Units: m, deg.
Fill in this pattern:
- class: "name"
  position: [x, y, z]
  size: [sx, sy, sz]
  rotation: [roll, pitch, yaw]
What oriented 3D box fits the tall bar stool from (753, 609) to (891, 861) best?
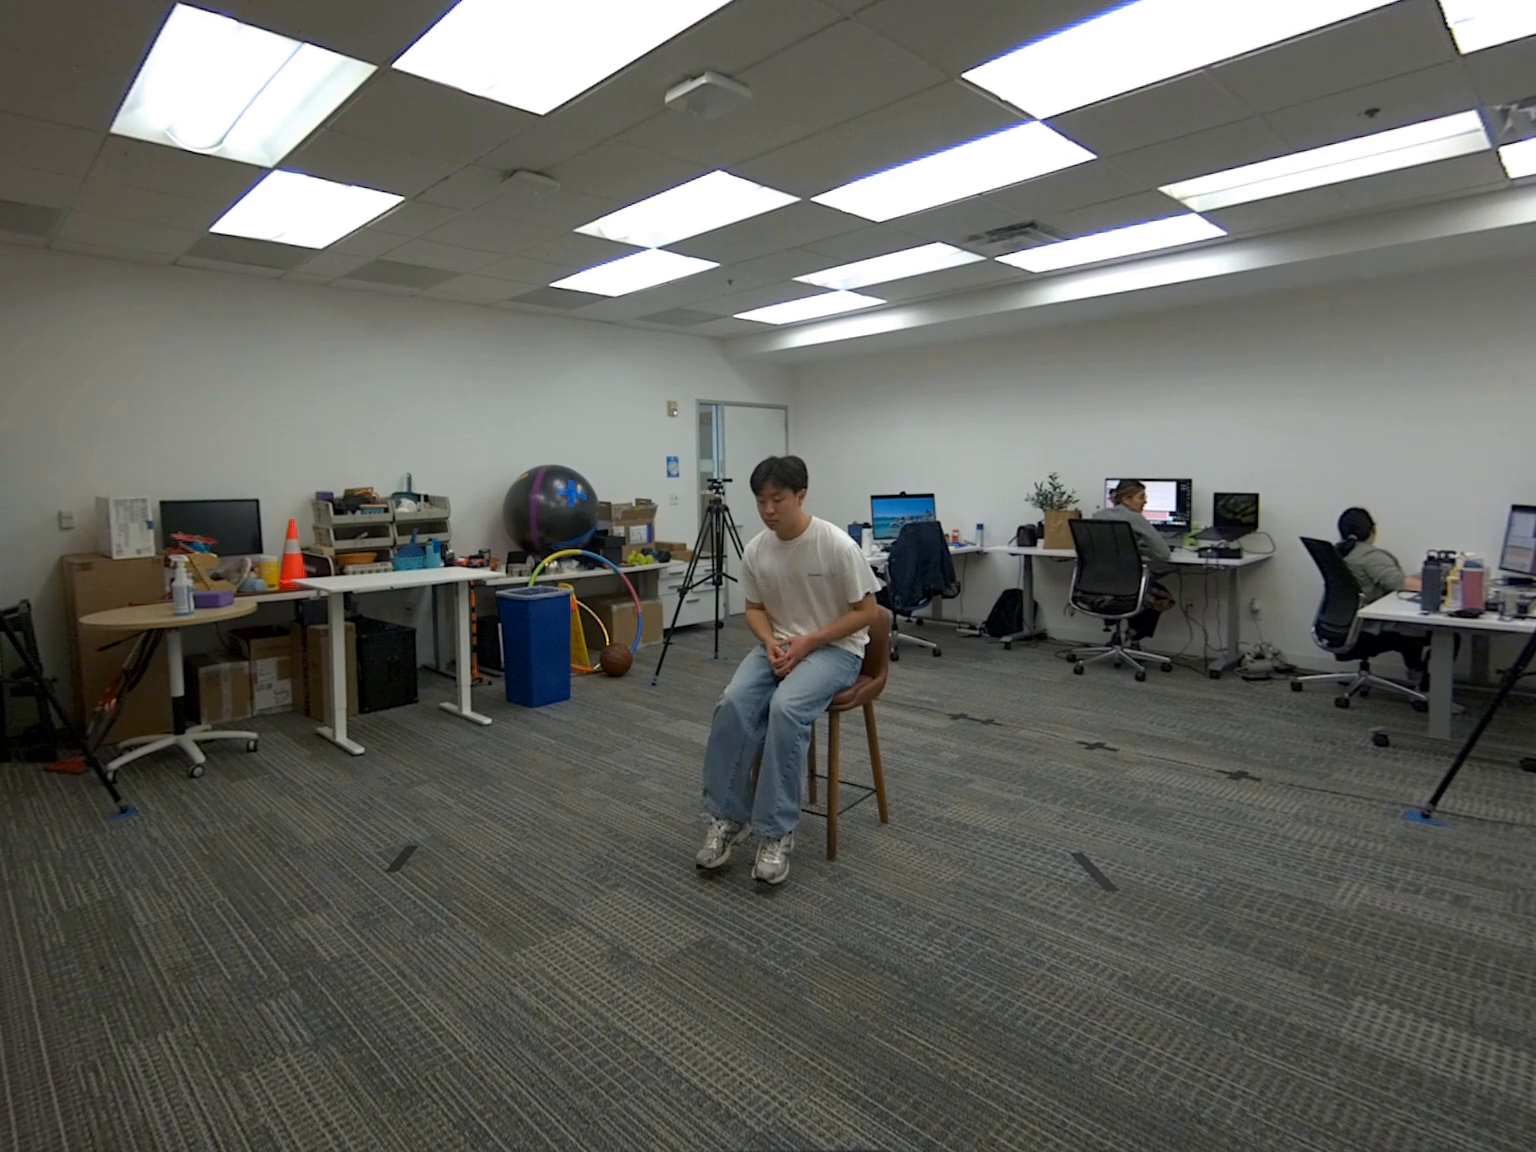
- class: "tall bar stool"
  position: [0.217, 0.574, 3.395]
  size: [0.470, 0.888, 0.455]
  rotation: [3, 4, 38]
